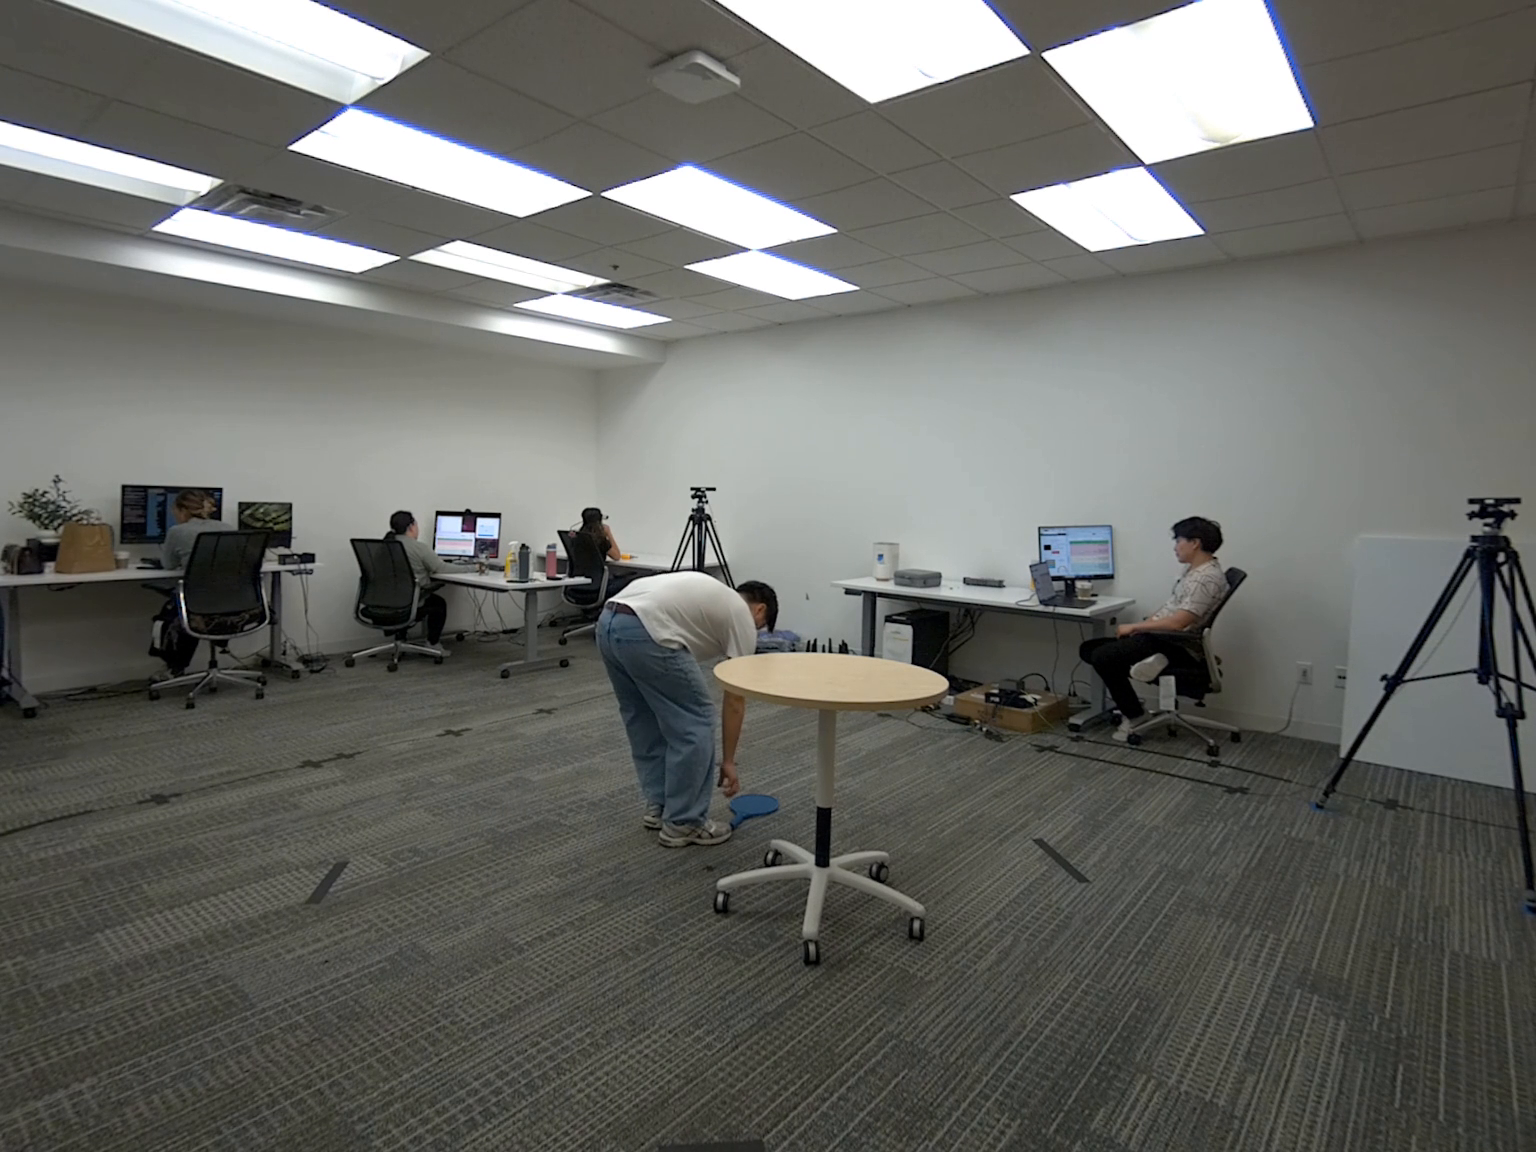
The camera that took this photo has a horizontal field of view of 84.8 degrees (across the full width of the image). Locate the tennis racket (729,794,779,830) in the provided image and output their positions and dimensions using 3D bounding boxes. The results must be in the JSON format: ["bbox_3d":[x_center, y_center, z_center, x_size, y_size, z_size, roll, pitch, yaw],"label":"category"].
[{"bbox_3d":[-0.098,1.001,3.648,0.218,0.032,0.424,3,4,20],"label":"tennis racket"}]
